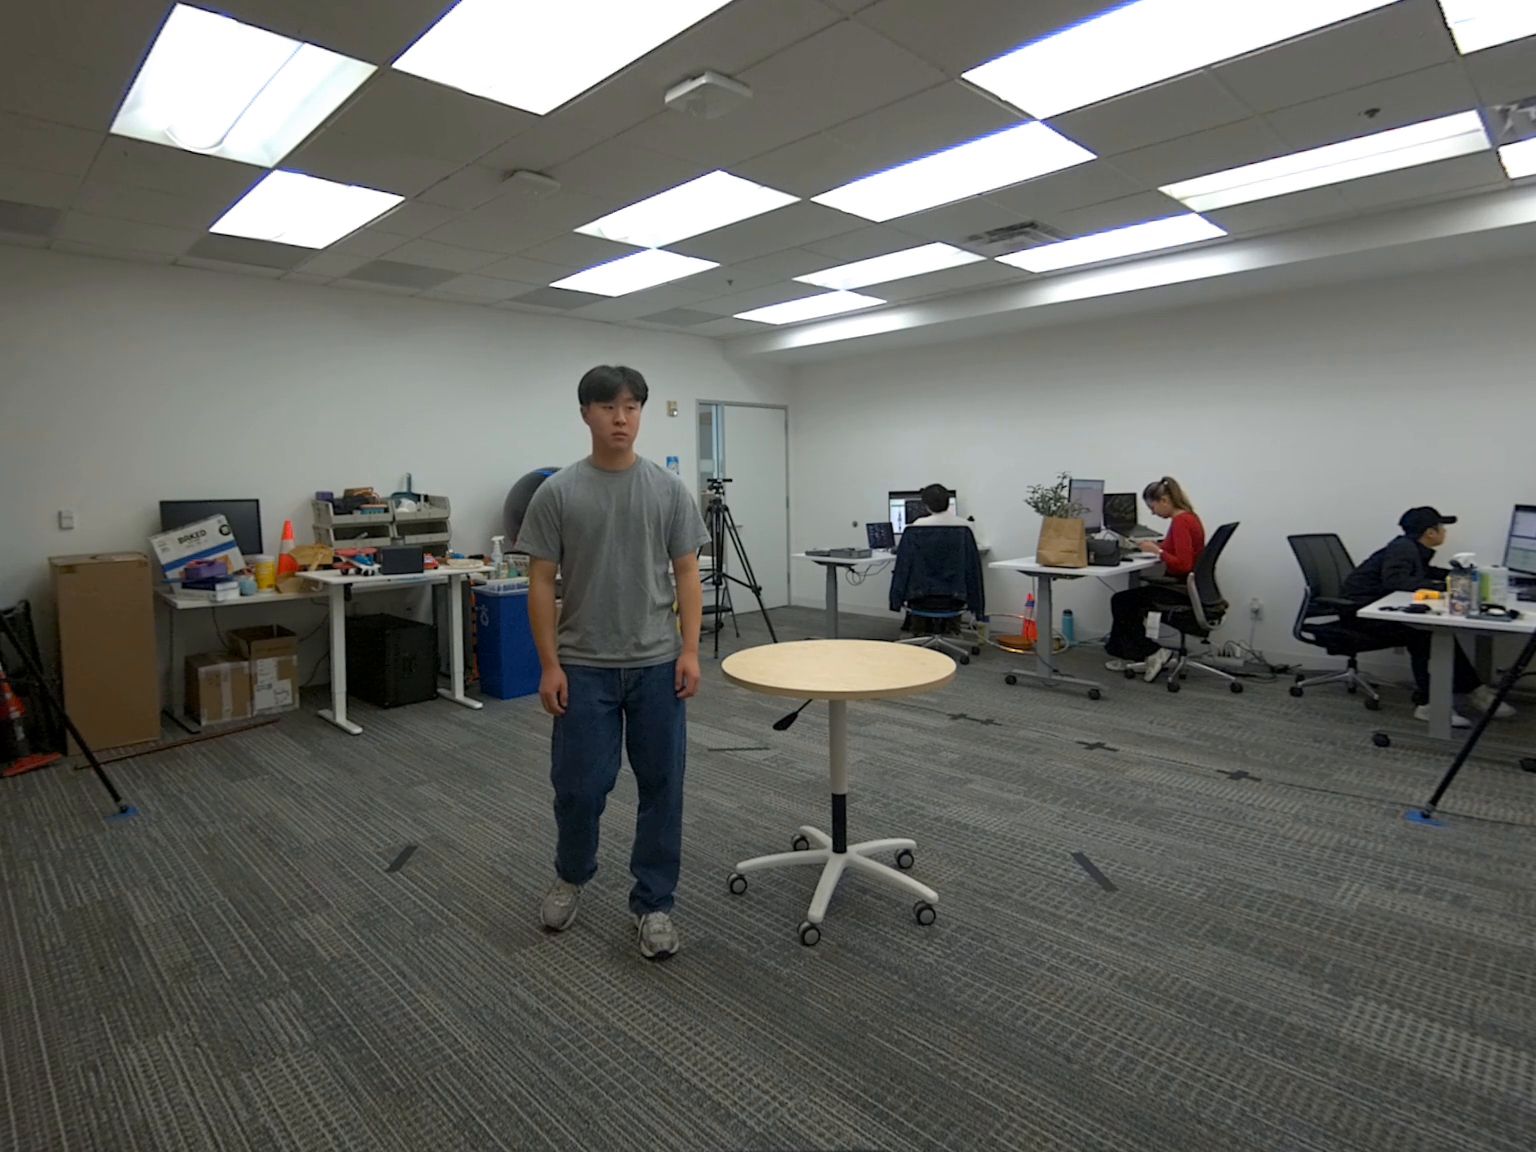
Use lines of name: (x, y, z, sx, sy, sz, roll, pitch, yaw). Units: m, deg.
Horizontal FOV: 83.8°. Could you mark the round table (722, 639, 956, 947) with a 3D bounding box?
round table: (0.235, 0.678, 2.865, 0.763, 0.791, 0.768, -1, 5, -2)
